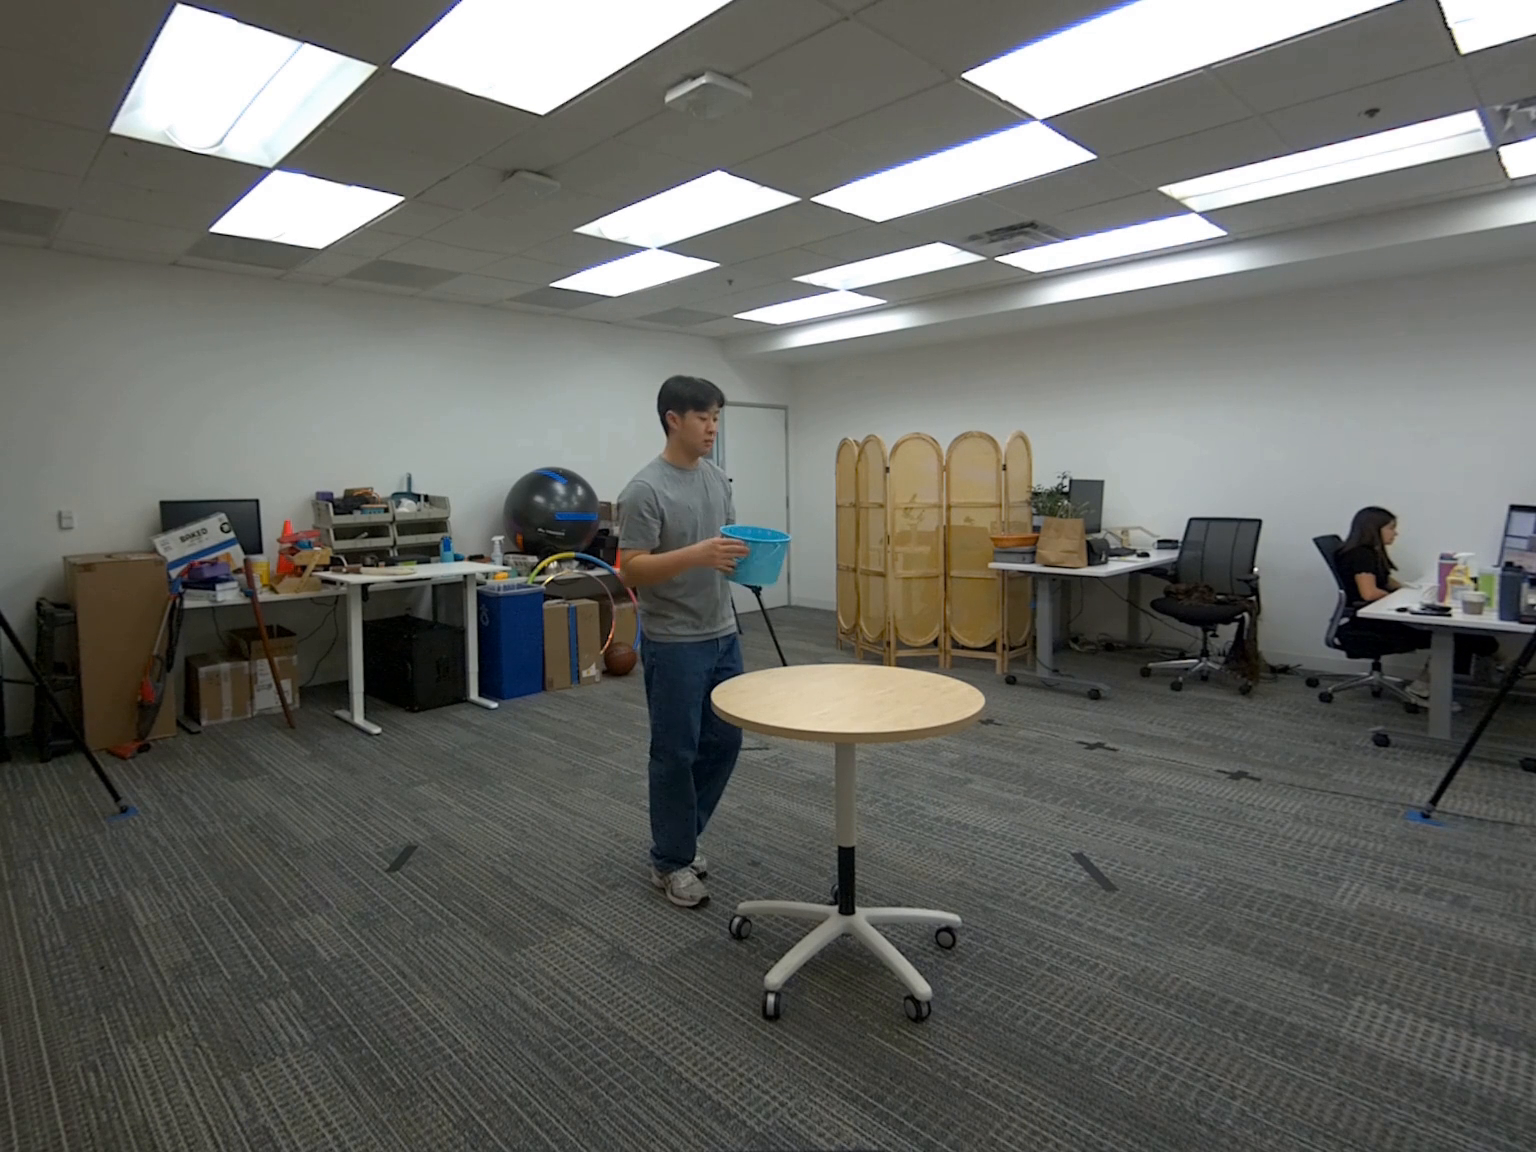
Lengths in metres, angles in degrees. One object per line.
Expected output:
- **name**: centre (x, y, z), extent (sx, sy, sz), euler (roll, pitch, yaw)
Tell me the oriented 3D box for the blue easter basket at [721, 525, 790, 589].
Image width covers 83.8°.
- **blue easter basket**: centre (-0.071, -0.063, 2.781), extent (0.243, 0.154, 0.246), euler (6, 11, -3)
